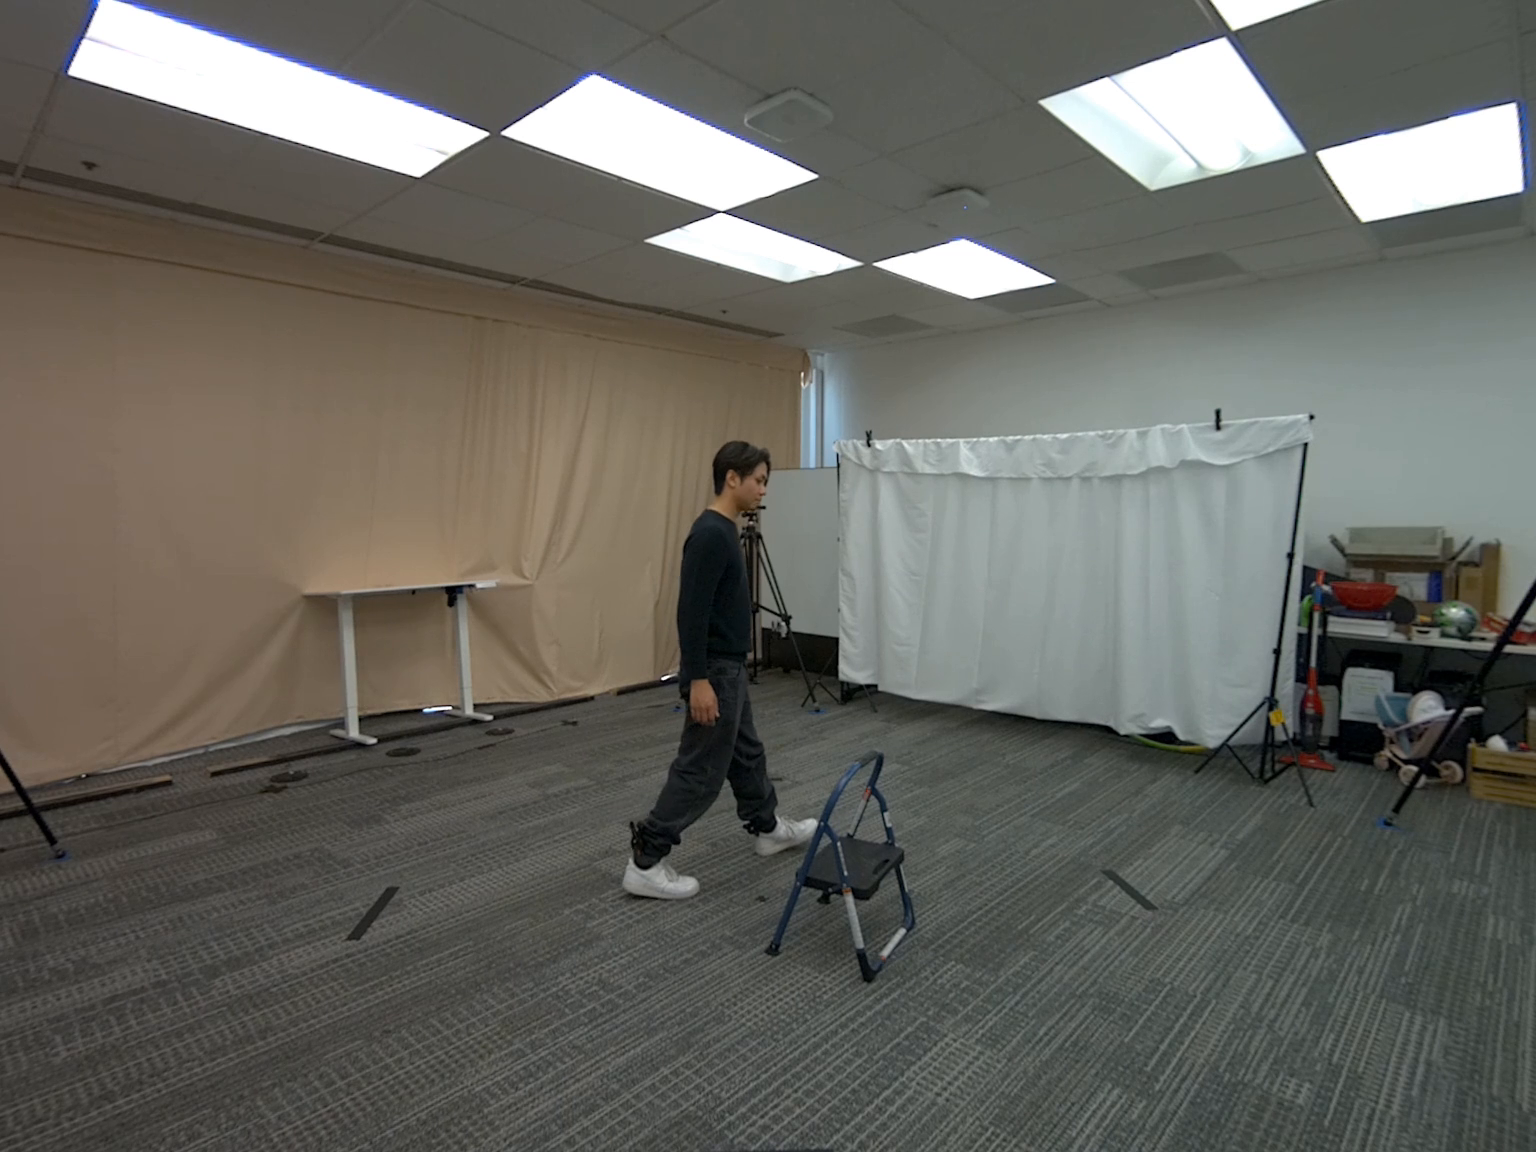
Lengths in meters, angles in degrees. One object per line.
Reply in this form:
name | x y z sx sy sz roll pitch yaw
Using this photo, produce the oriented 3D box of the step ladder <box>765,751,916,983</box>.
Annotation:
step ladder | 0.247 0.863 2.694 0.359 0.605 0.419 2 4 29
